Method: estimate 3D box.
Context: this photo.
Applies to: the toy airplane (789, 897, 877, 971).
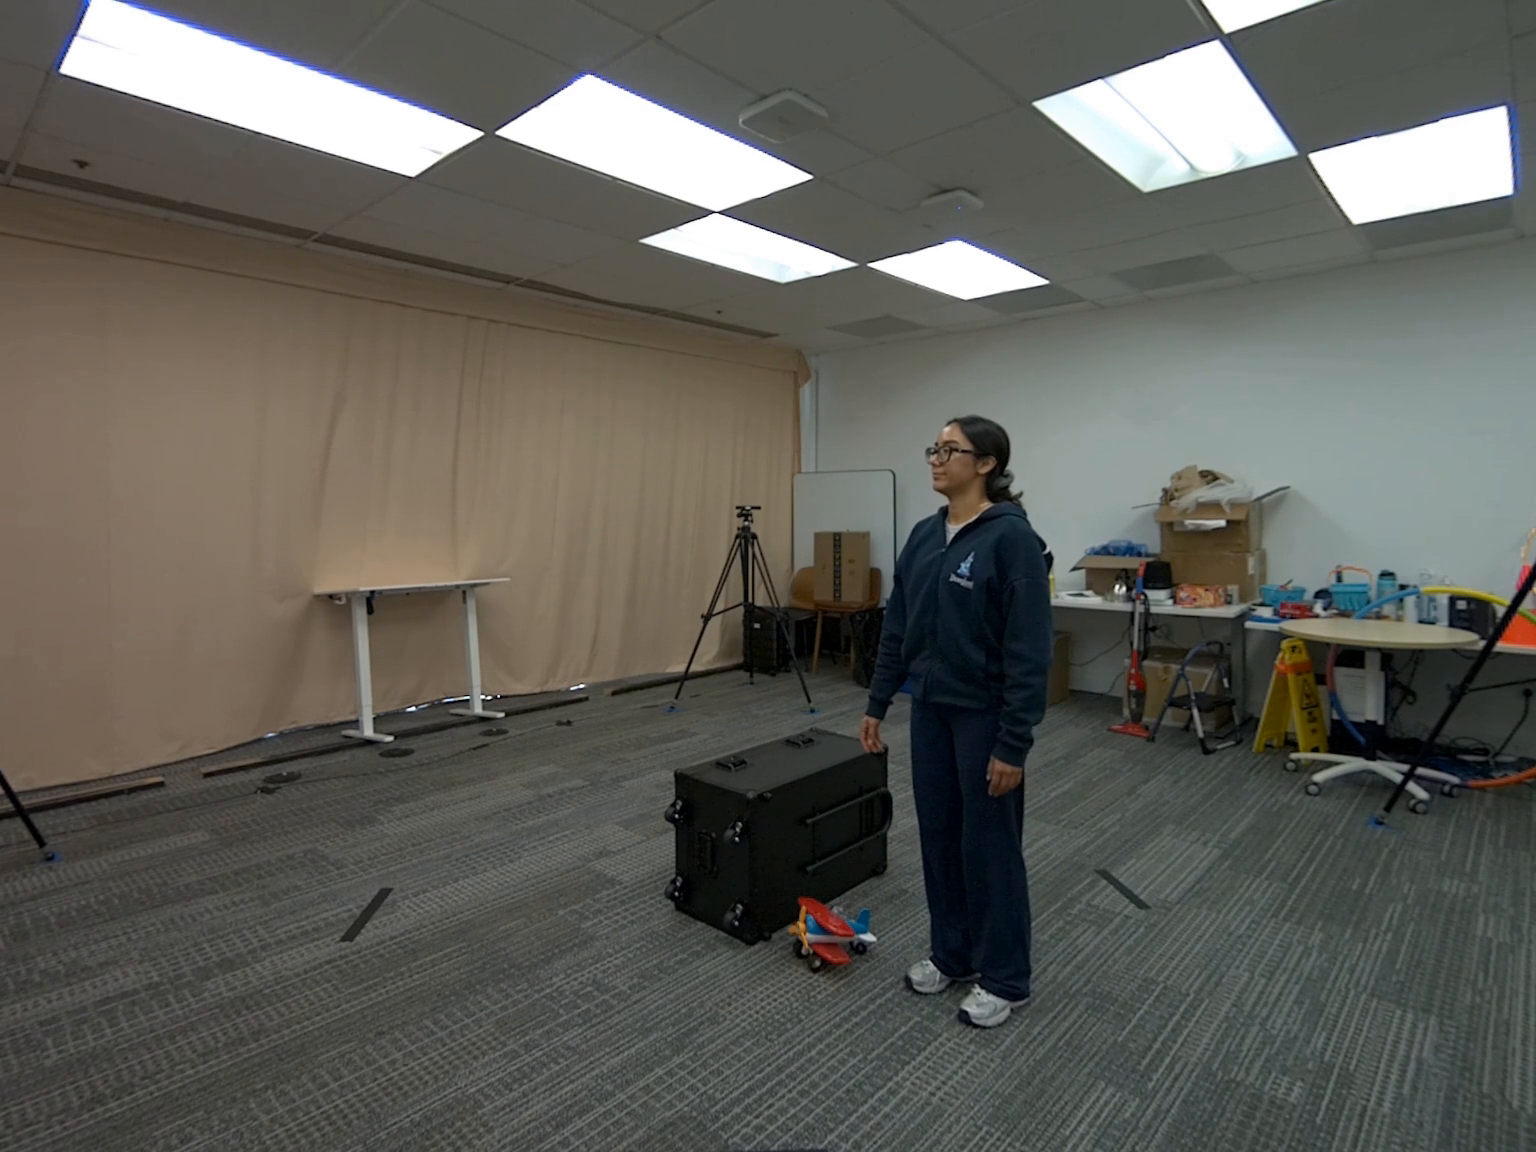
[{"bbox_3d":[0.194,1.097,2.603,0.259,0.156,0.252,3,8,36],"label":"toy airplane"}]
